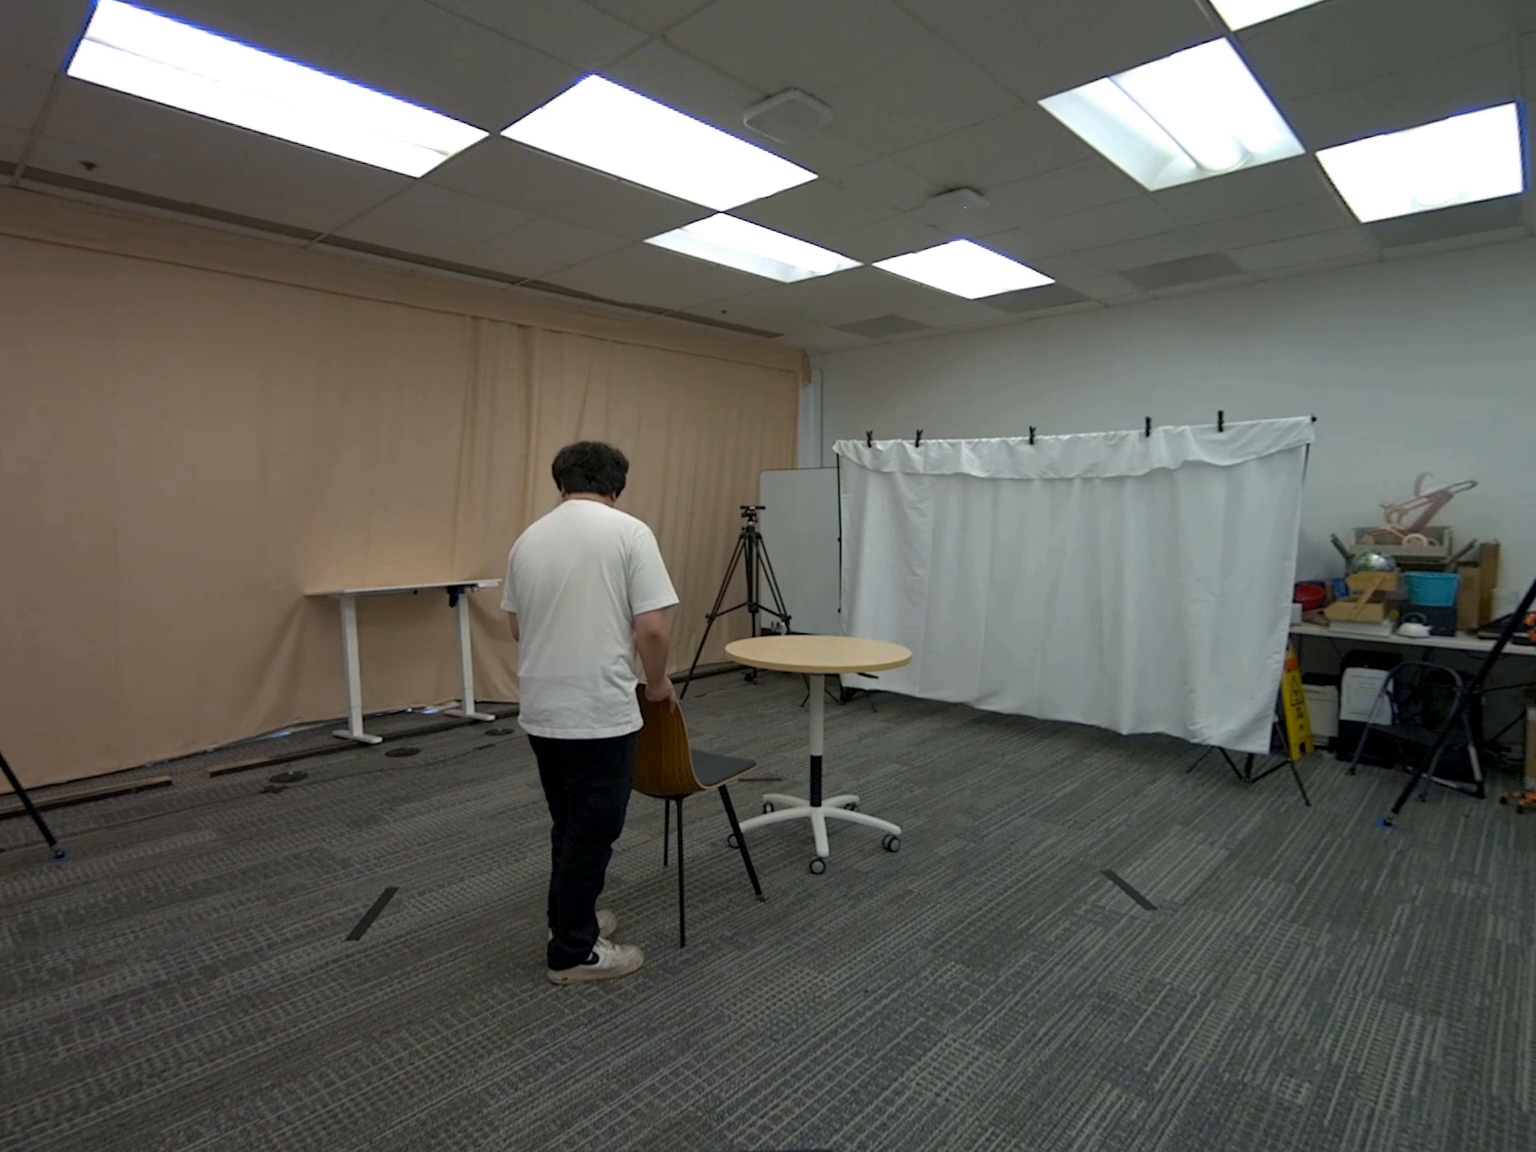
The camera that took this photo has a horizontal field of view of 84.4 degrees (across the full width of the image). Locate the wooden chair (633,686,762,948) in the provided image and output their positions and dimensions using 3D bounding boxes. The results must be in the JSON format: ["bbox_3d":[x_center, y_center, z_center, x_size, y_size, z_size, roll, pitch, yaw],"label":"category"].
[{"bbox_3d":[-0.327,0.722,2.945,0.493,0.873,0.509,1,8,35],"label":"wooden chair"}]
